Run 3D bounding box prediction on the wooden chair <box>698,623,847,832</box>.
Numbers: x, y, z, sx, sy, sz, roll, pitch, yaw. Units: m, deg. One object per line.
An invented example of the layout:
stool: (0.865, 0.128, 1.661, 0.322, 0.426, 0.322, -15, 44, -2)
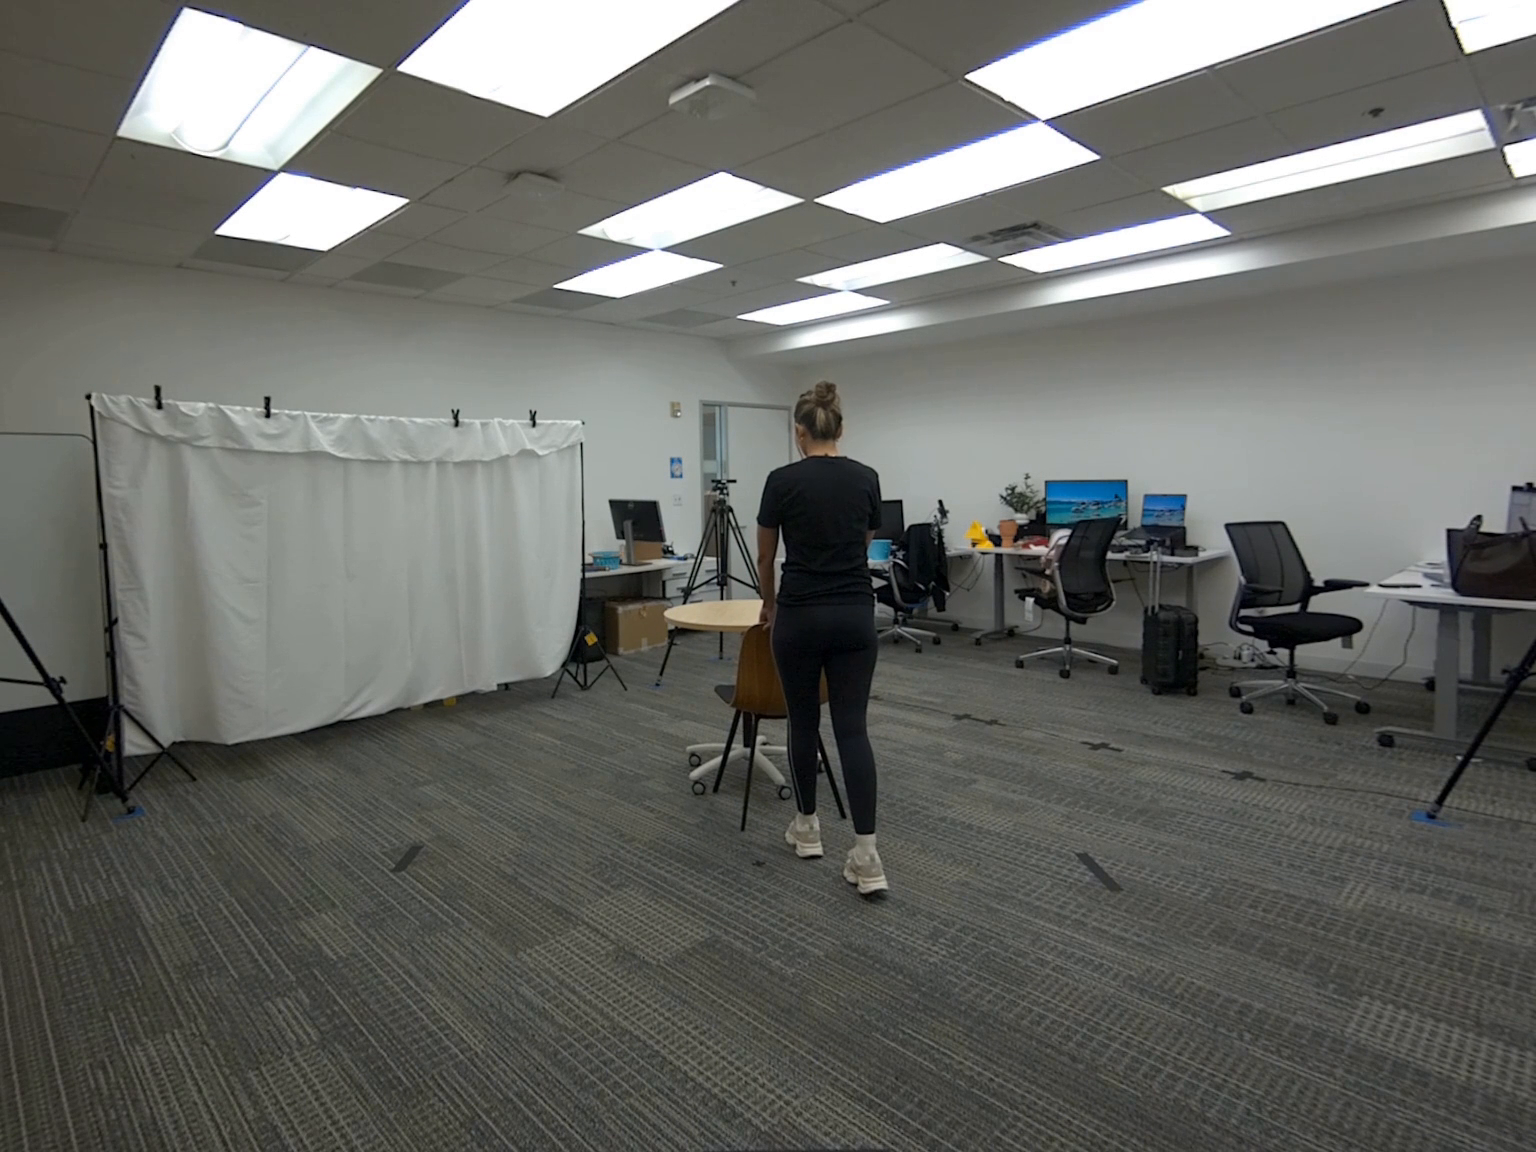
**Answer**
wooden chair: (0.031, 0.559, 3.639, 0.471, 0.871, 0.535, -3, 9, -16)
